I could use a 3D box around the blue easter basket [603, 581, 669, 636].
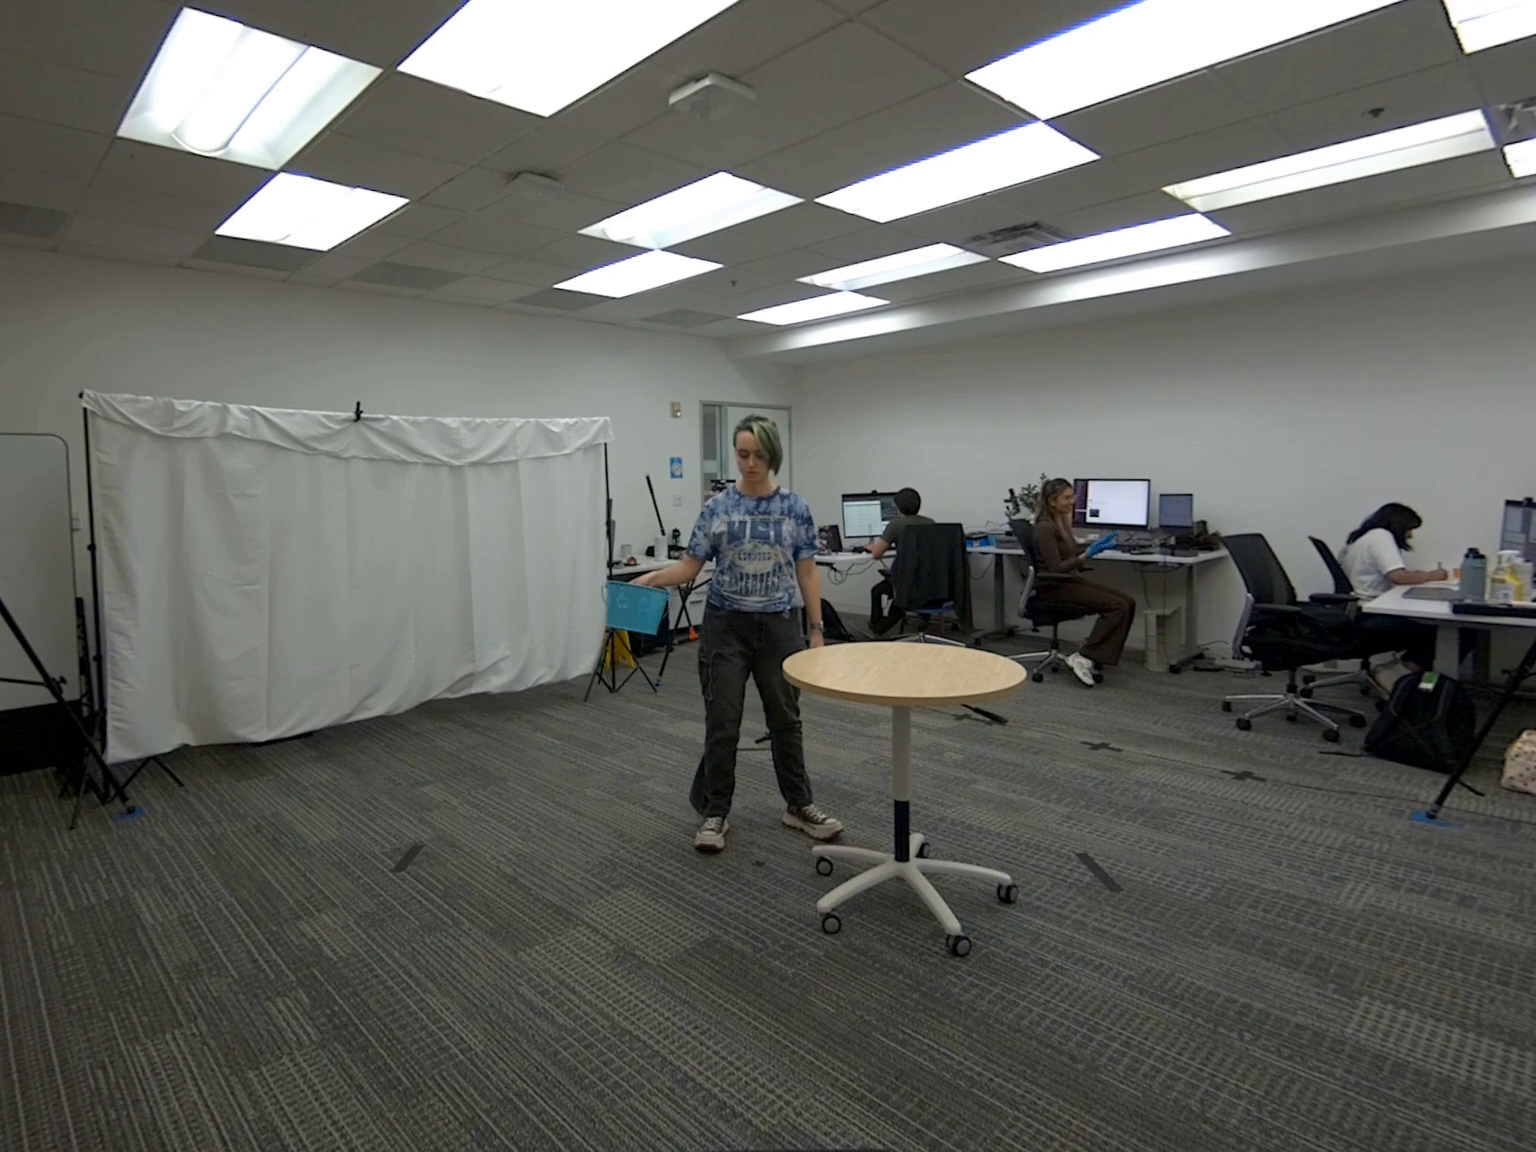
[{"bbox_3d":[-0.461,0.117,2.974,0.244,0.157,0.242,8,-6,-1],"label":"blue easter basket"}]
